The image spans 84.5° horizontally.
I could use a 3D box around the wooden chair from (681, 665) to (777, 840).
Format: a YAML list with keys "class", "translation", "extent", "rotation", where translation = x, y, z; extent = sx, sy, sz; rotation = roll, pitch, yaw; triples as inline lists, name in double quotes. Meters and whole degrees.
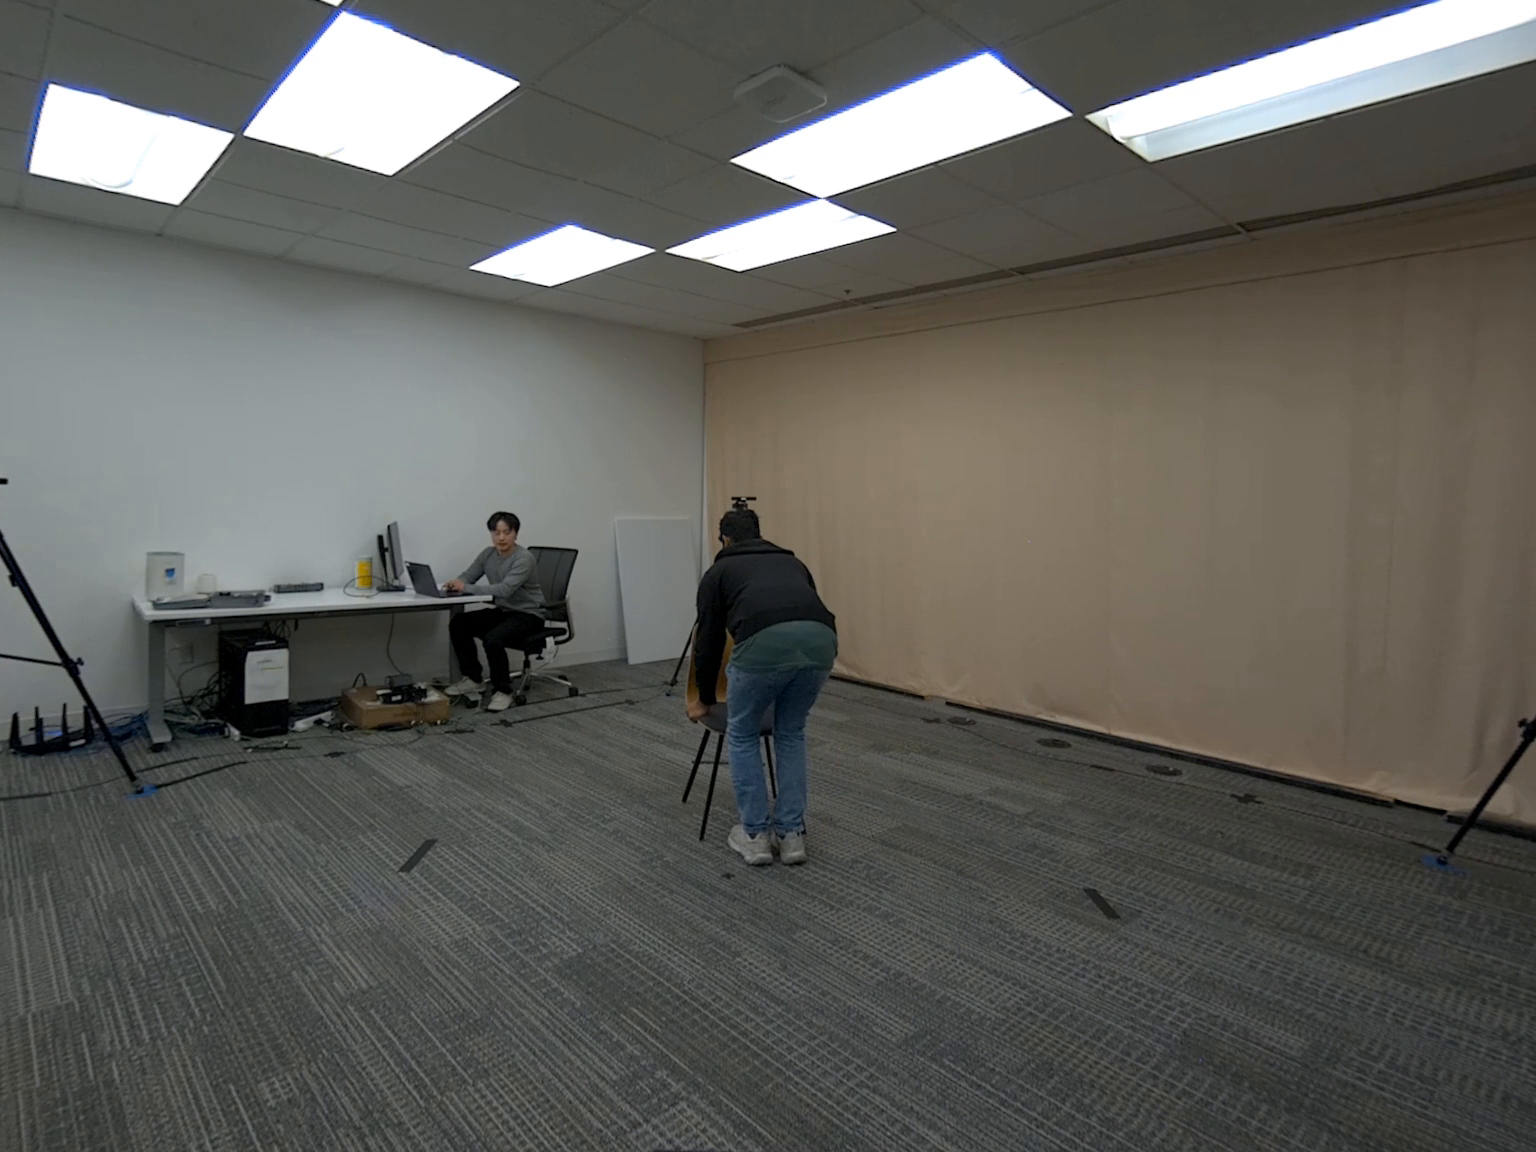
- class: "wooden chair"
  translation: [-0.107, 0.628, 3.653]
  extent: [0.472, 0.878, 0.529]
  rotation: [2, -1, -15]
